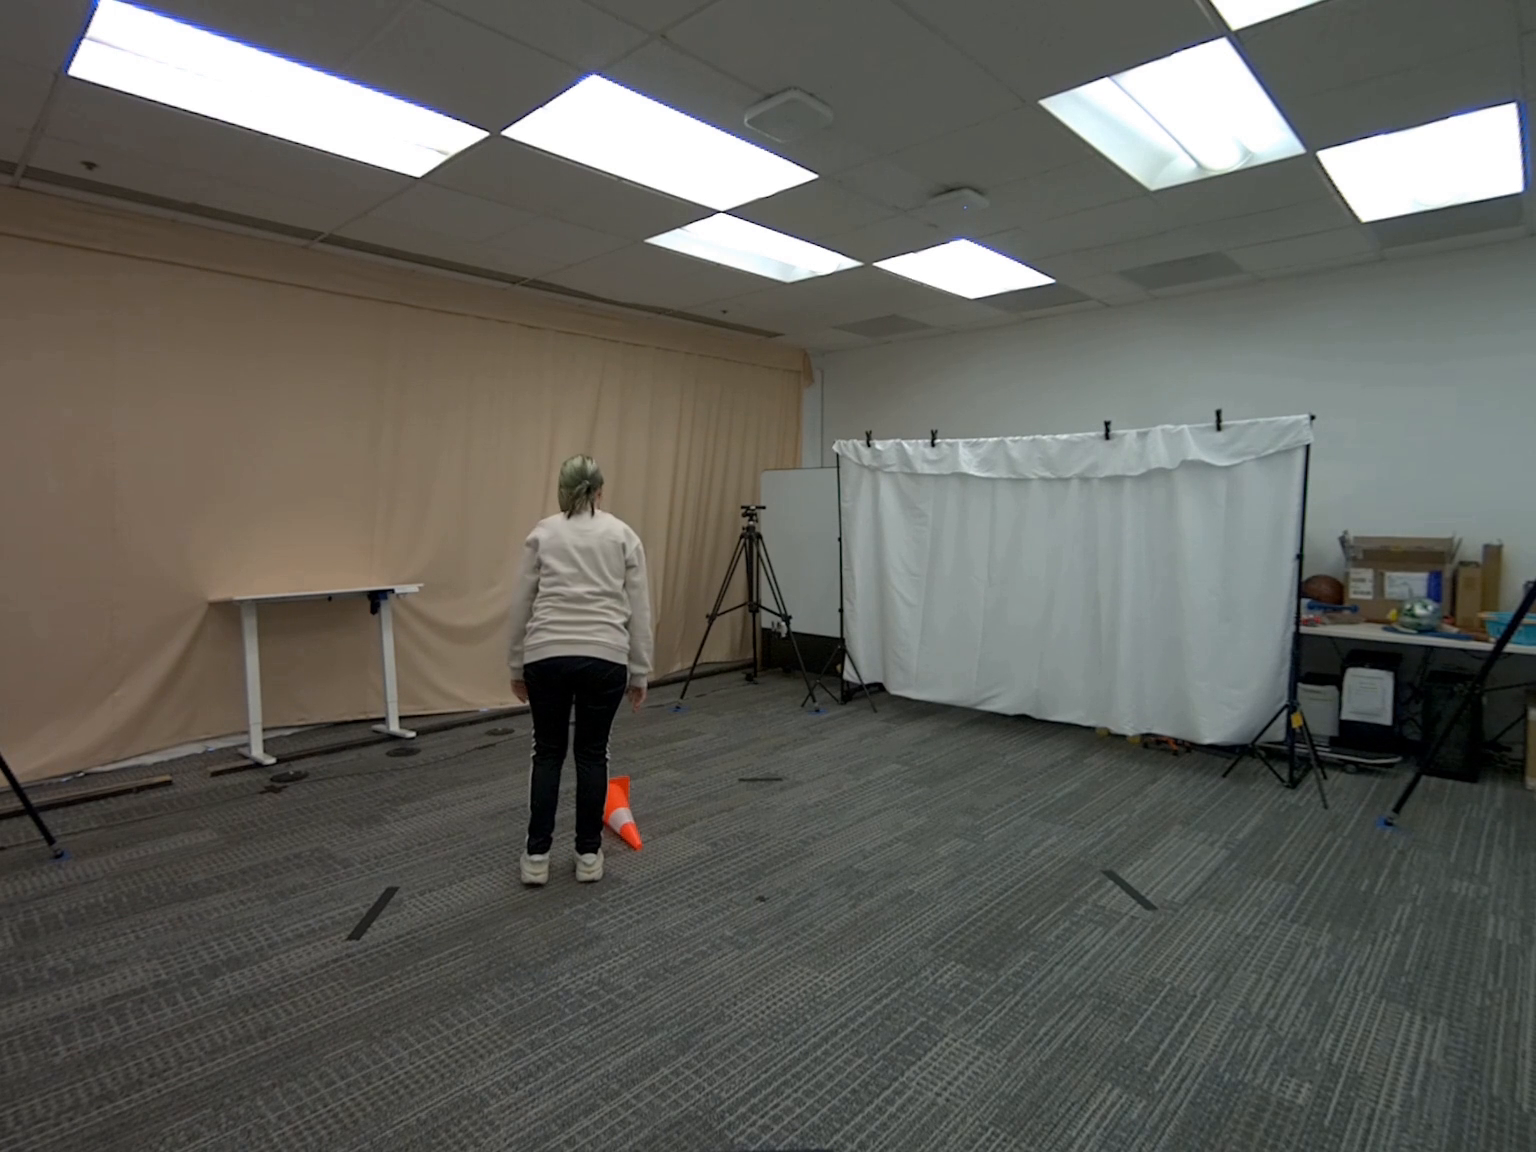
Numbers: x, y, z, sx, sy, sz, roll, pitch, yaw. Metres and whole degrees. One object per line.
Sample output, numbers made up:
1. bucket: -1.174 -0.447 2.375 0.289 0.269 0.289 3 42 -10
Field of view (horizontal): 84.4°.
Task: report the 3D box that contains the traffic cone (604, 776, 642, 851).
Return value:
1. traffic cone: -0.621 1.043 3.579 0.198 0.203 0.397 -1 16 -31
